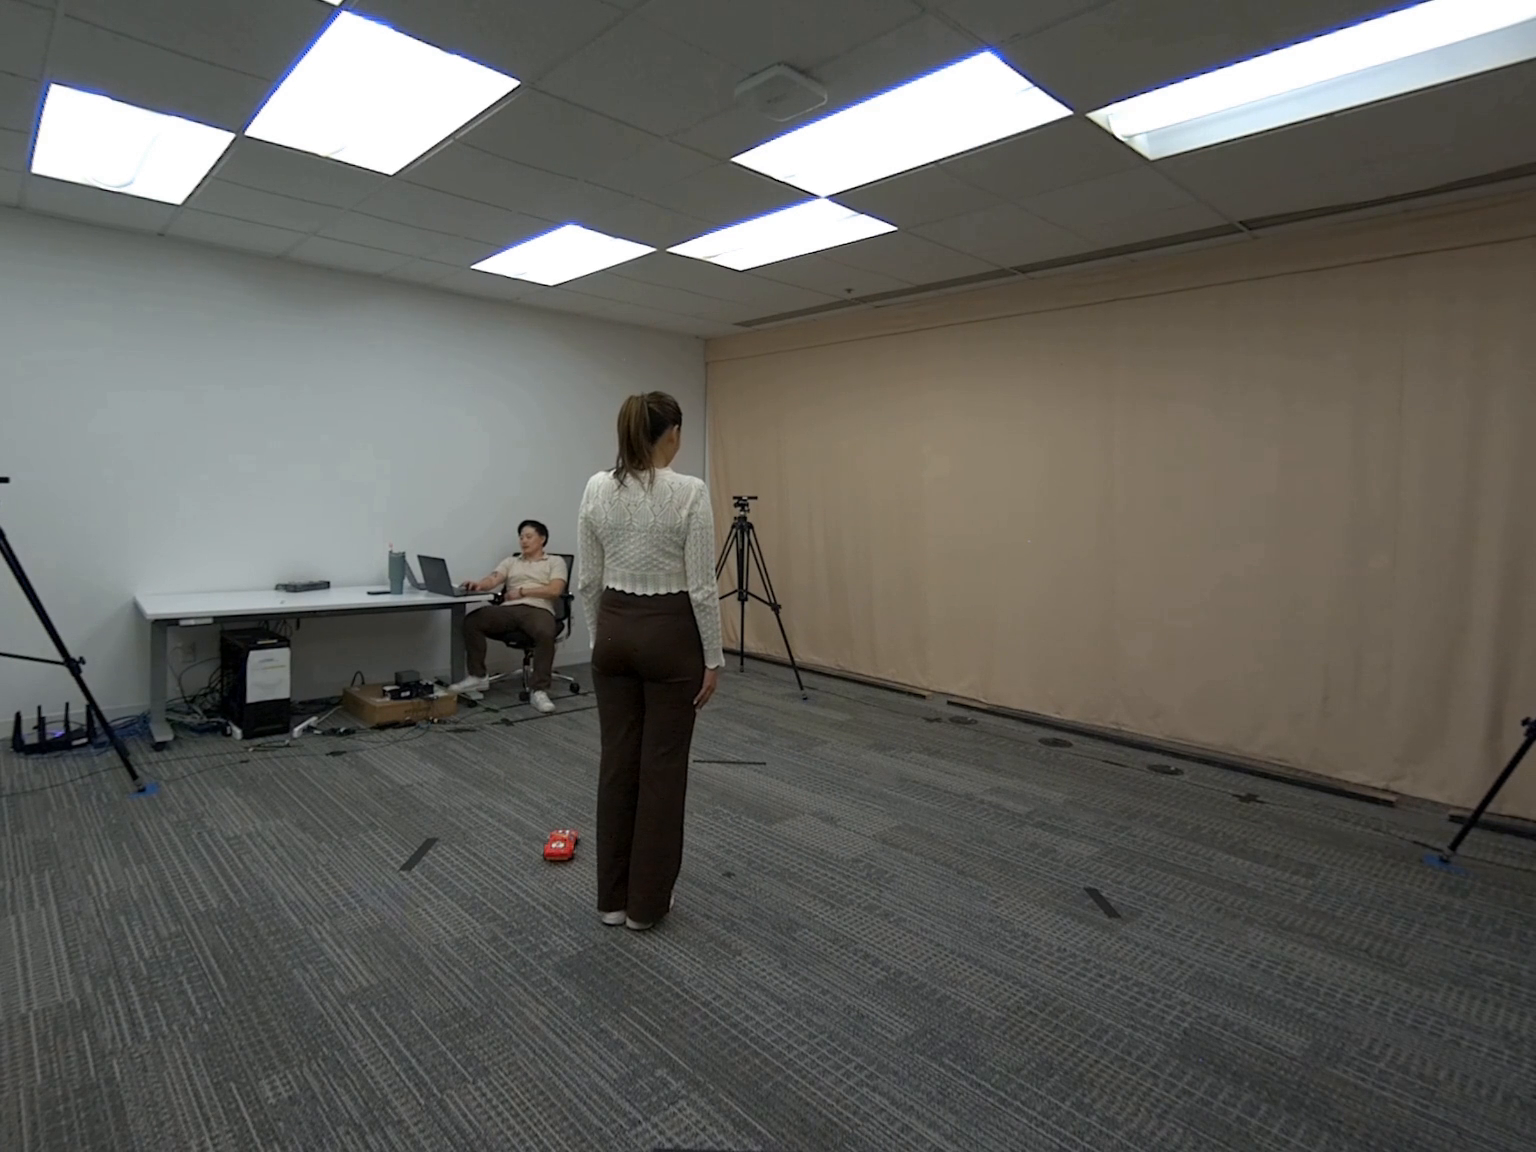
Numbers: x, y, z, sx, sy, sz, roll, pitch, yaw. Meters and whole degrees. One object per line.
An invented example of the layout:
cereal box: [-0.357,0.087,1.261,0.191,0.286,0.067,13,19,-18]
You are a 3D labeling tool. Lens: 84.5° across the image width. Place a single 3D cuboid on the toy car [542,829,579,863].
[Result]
toy car: [-0.810,1.044,3.252,0.130,0.083,0.254,2,-6,-5]
